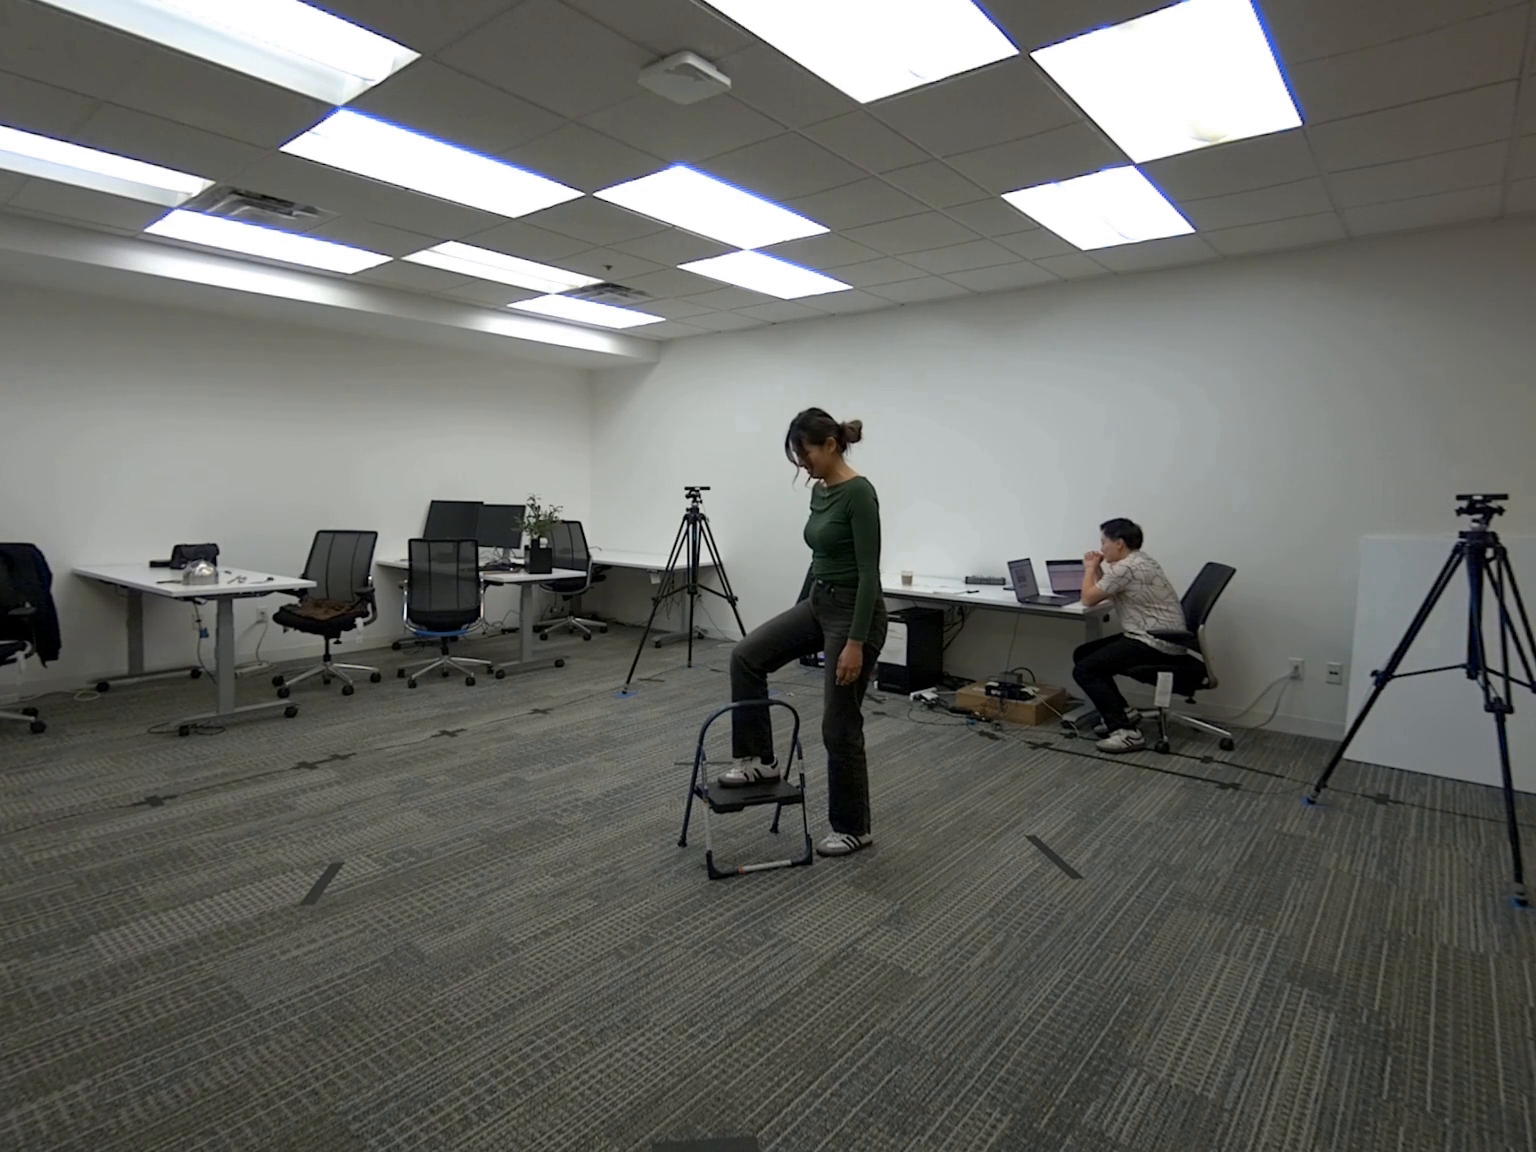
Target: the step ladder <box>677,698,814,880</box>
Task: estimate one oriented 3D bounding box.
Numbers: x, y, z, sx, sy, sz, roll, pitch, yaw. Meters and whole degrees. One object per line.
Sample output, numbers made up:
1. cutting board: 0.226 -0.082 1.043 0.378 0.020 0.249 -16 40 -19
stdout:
1. step ladder: -0.094 0.753 3.225 0.421 0.604 0.358 0 4 -23
